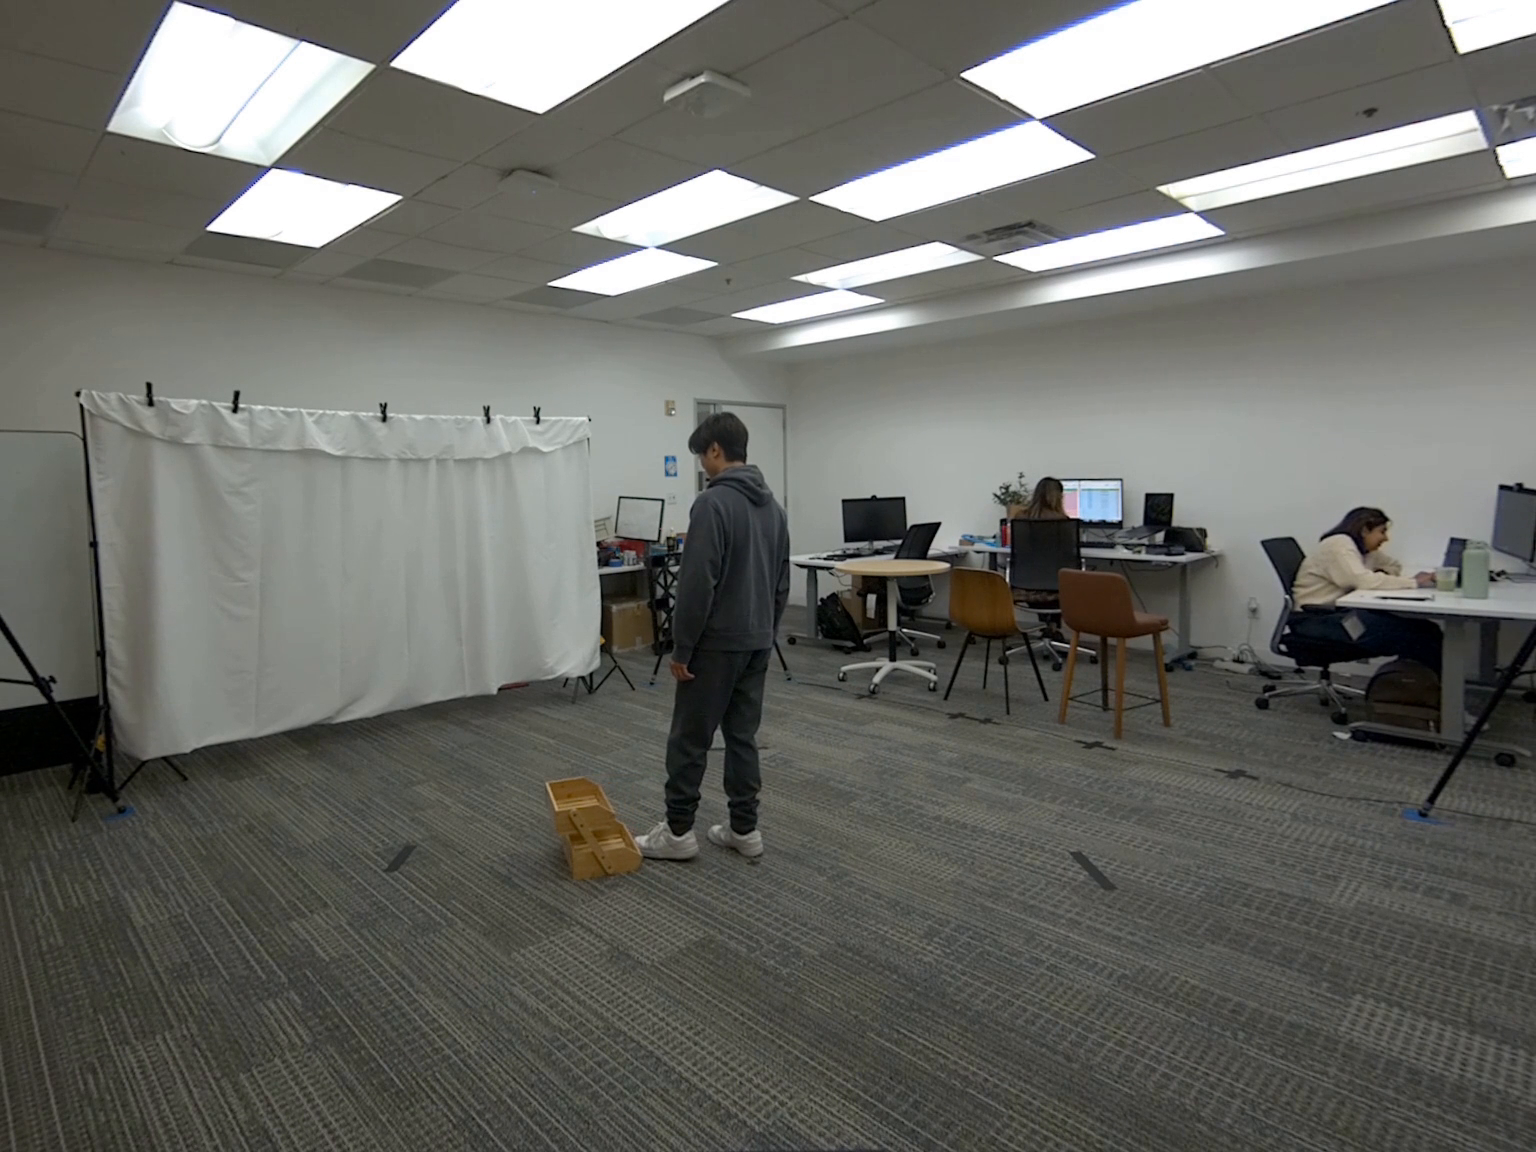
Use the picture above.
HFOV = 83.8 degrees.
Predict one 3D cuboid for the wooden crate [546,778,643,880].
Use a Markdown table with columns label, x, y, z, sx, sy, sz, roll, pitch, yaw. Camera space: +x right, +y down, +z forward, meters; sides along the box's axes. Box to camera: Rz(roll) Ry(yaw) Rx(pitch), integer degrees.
| label | x | y | z | sx | sy | sz | roll | pitch | yaw |
| --- | --- | --- | --- | --- | --- | --- | --- | --- | --- |
| wooden crate | -0.642 | 0.910 | 3.156 | 0.297 | 0.272 | 0.332 | -4 | 6 | -20 |
